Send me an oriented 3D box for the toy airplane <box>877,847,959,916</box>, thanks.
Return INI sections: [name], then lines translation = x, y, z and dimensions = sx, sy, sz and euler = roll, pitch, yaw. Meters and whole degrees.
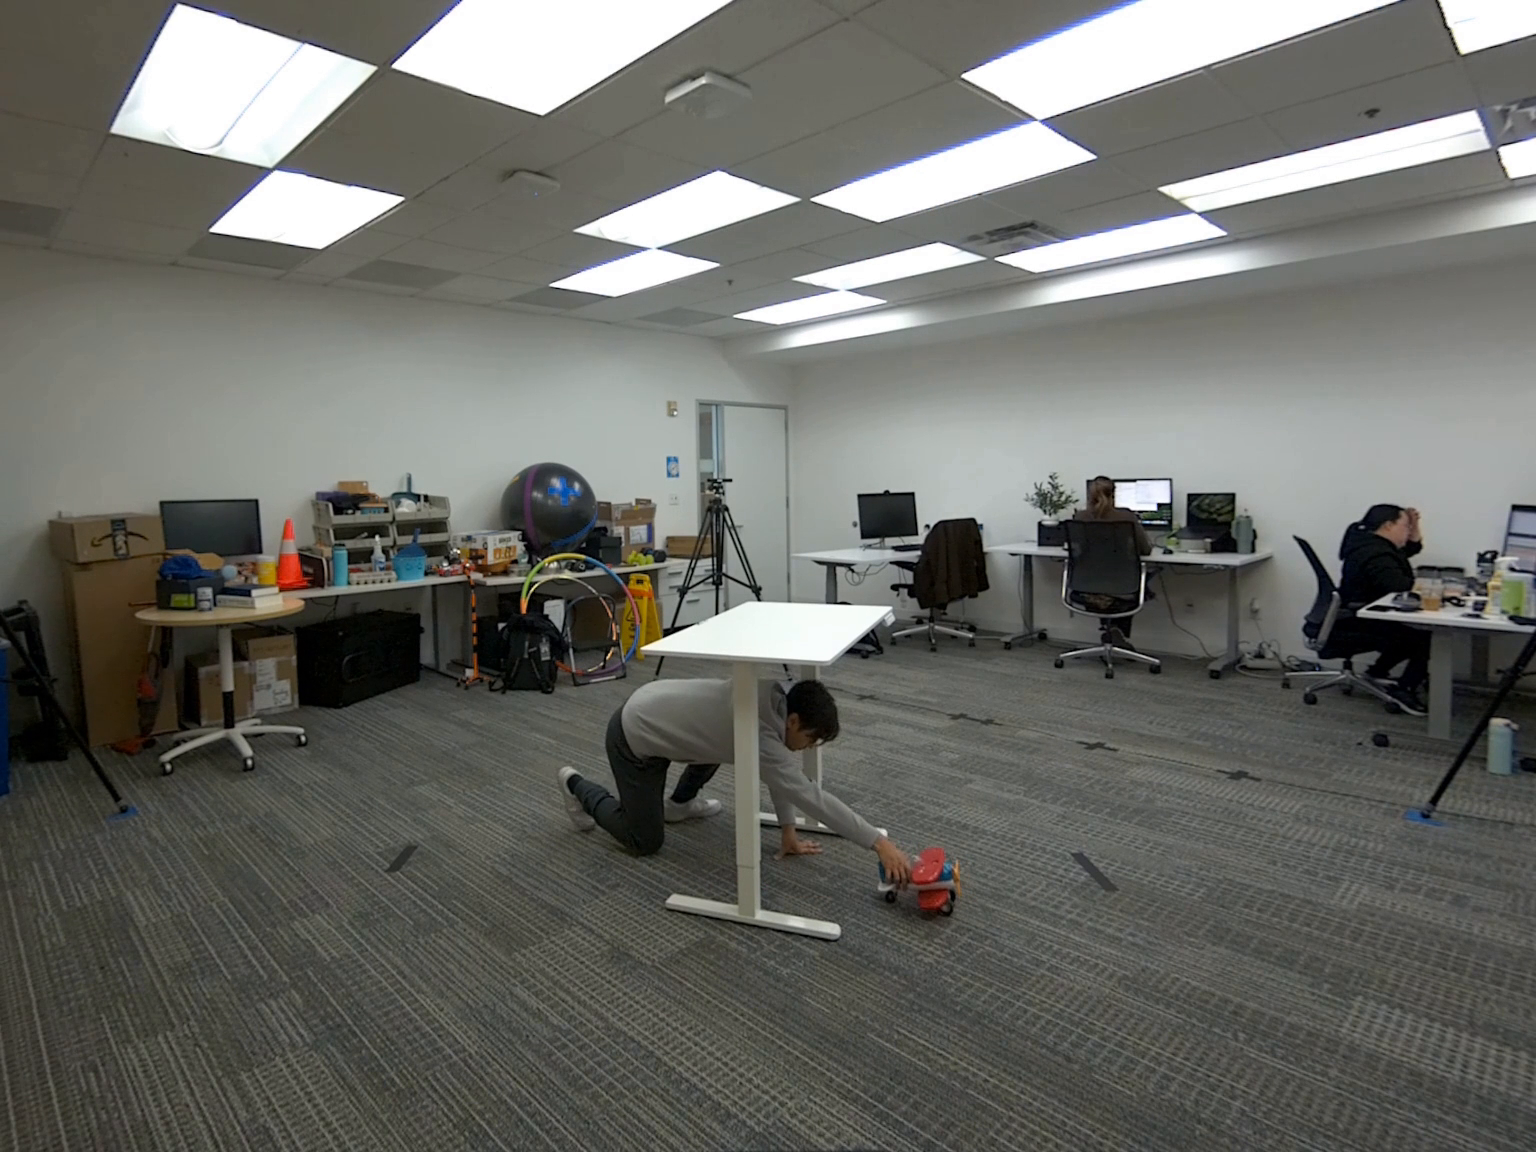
[toy airplane]
translation = 0.498, 1.002, 2.766
dimensions = 0.257, 0.156, 0.254
euler = -1, 5, -10
